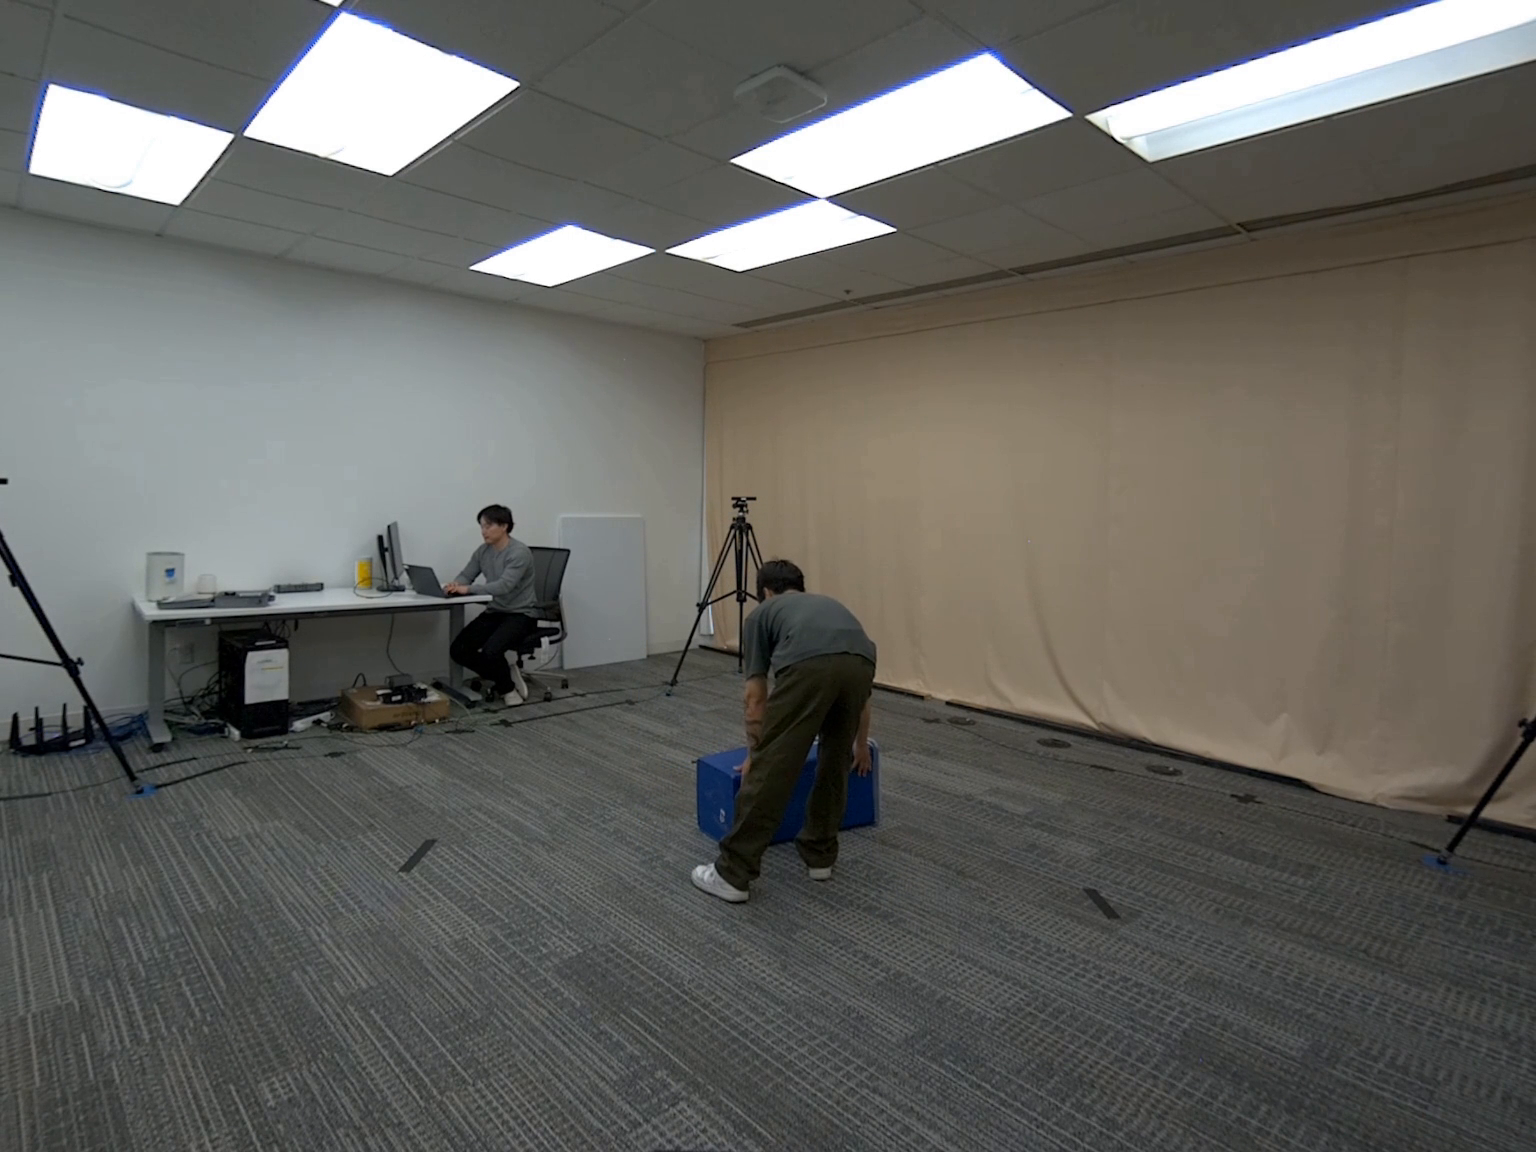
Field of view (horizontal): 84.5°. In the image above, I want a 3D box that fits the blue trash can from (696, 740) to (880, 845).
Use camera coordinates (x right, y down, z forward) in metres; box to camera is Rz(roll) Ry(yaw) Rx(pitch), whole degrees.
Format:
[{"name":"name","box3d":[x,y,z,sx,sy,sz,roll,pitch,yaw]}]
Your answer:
[{"name":"blue trash can","box3d":[0.075,0.897,3.591,0.699,0.373,0.386,-3,5,-31]}]
